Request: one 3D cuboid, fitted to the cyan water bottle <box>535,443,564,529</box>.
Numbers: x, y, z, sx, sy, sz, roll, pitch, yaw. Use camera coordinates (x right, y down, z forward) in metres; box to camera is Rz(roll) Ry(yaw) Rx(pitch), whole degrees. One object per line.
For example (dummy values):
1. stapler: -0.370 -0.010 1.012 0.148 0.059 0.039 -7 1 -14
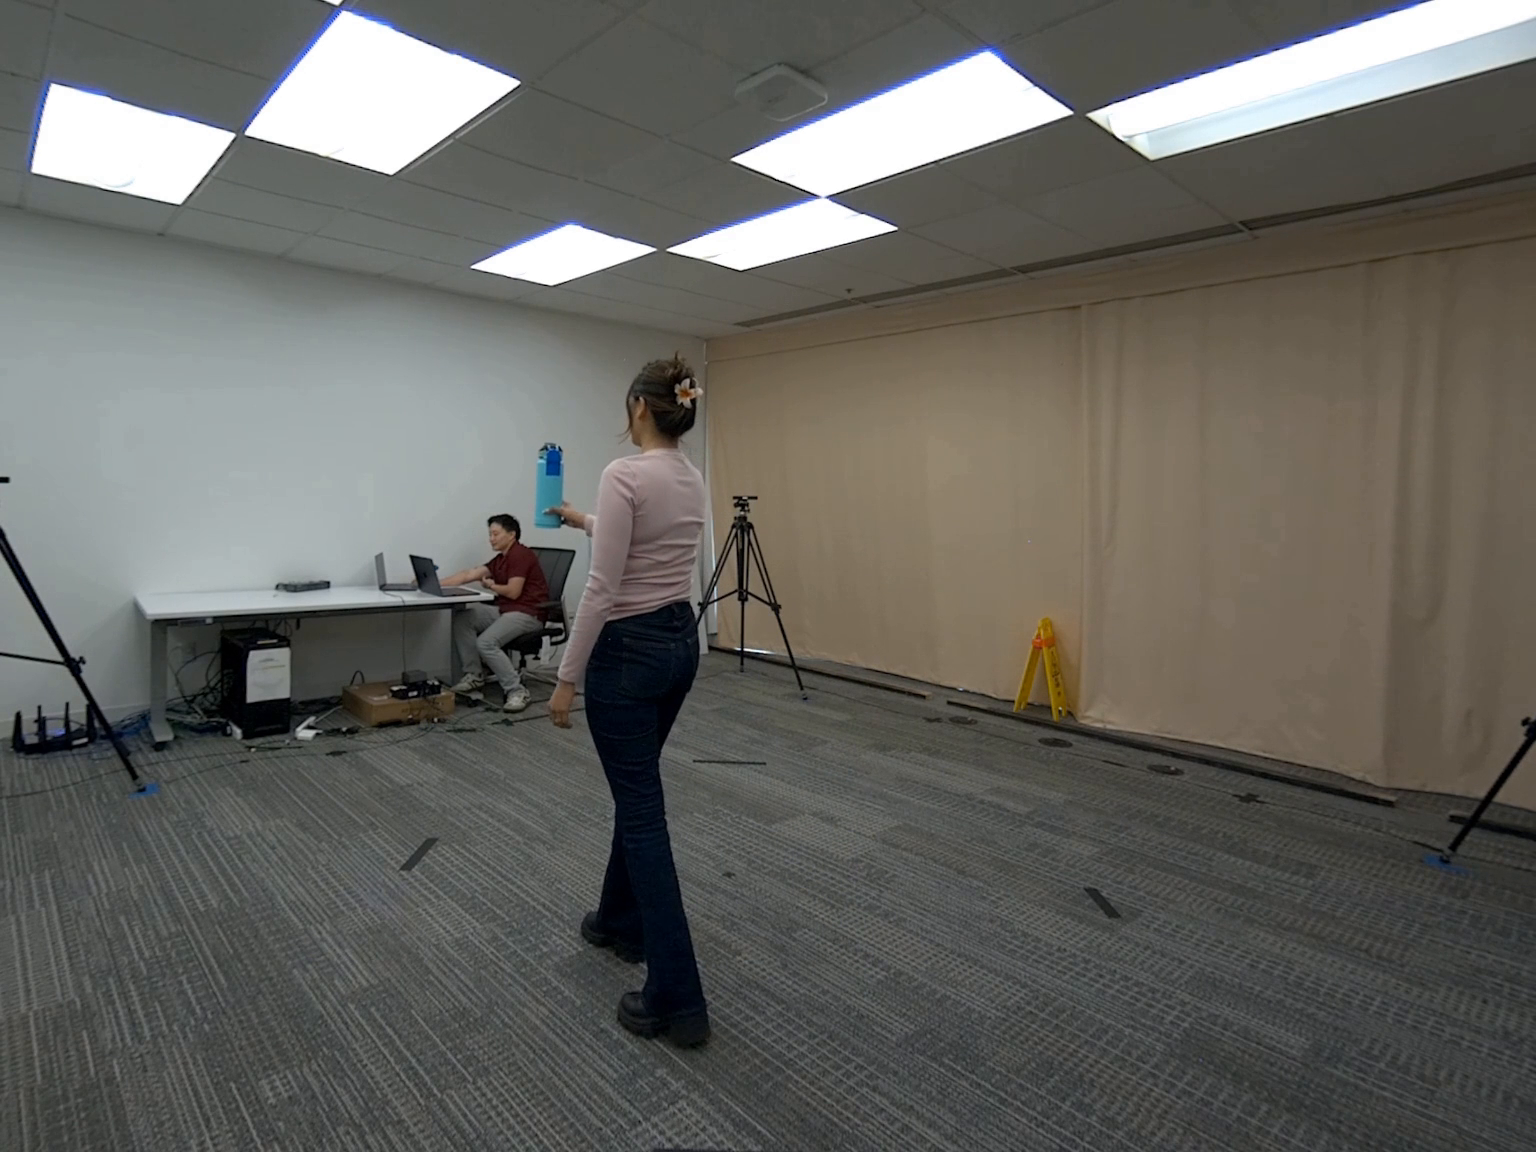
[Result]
1. cyan water bottle: -0.737 -0.307 2.808 0.092 0.283 0.092 4 3 -2
